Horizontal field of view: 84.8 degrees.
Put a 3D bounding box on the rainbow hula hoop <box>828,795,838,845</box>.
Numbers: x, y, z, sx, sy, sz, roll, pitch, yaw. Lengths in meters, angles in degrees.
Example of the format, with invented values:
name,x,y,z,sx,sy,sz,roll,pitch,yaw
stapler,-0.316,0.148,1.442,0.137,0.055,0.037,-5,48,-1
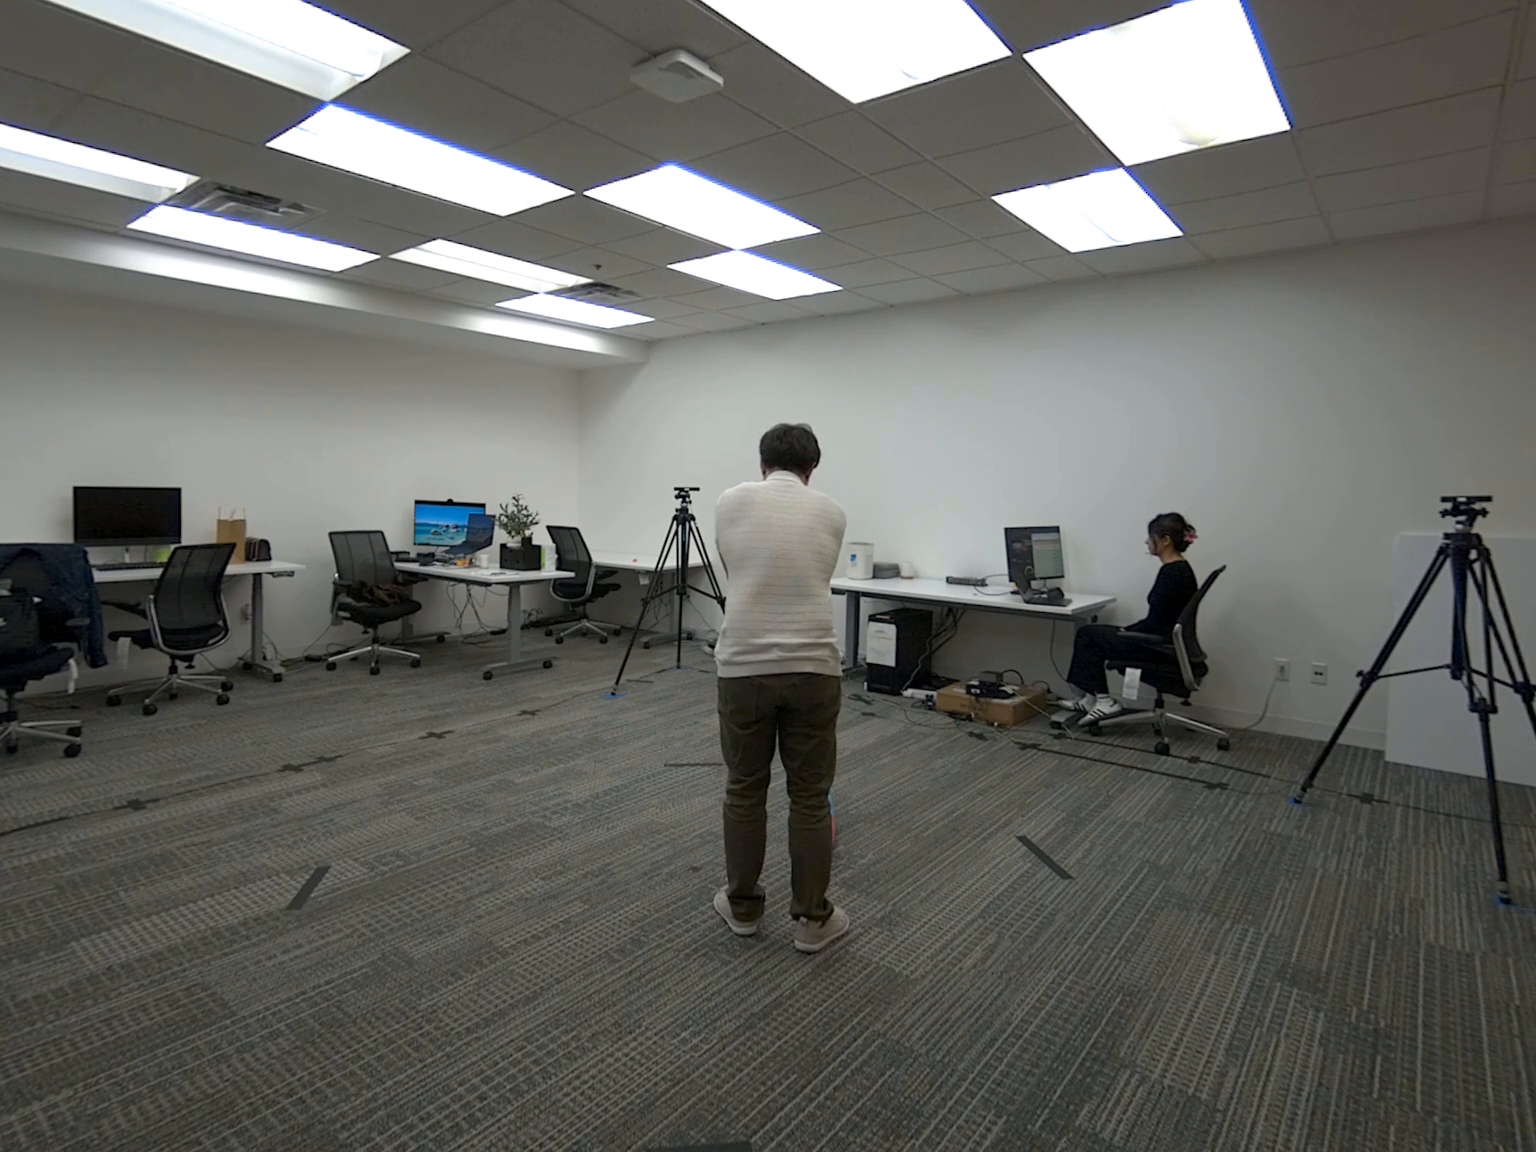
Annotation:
name,x,y,z,sx,sy,sz,roll,pitch,yaw
rainbow hula hoop,0.116,0.571,3.394,0.036,0.978,0.973,-17,2,7
